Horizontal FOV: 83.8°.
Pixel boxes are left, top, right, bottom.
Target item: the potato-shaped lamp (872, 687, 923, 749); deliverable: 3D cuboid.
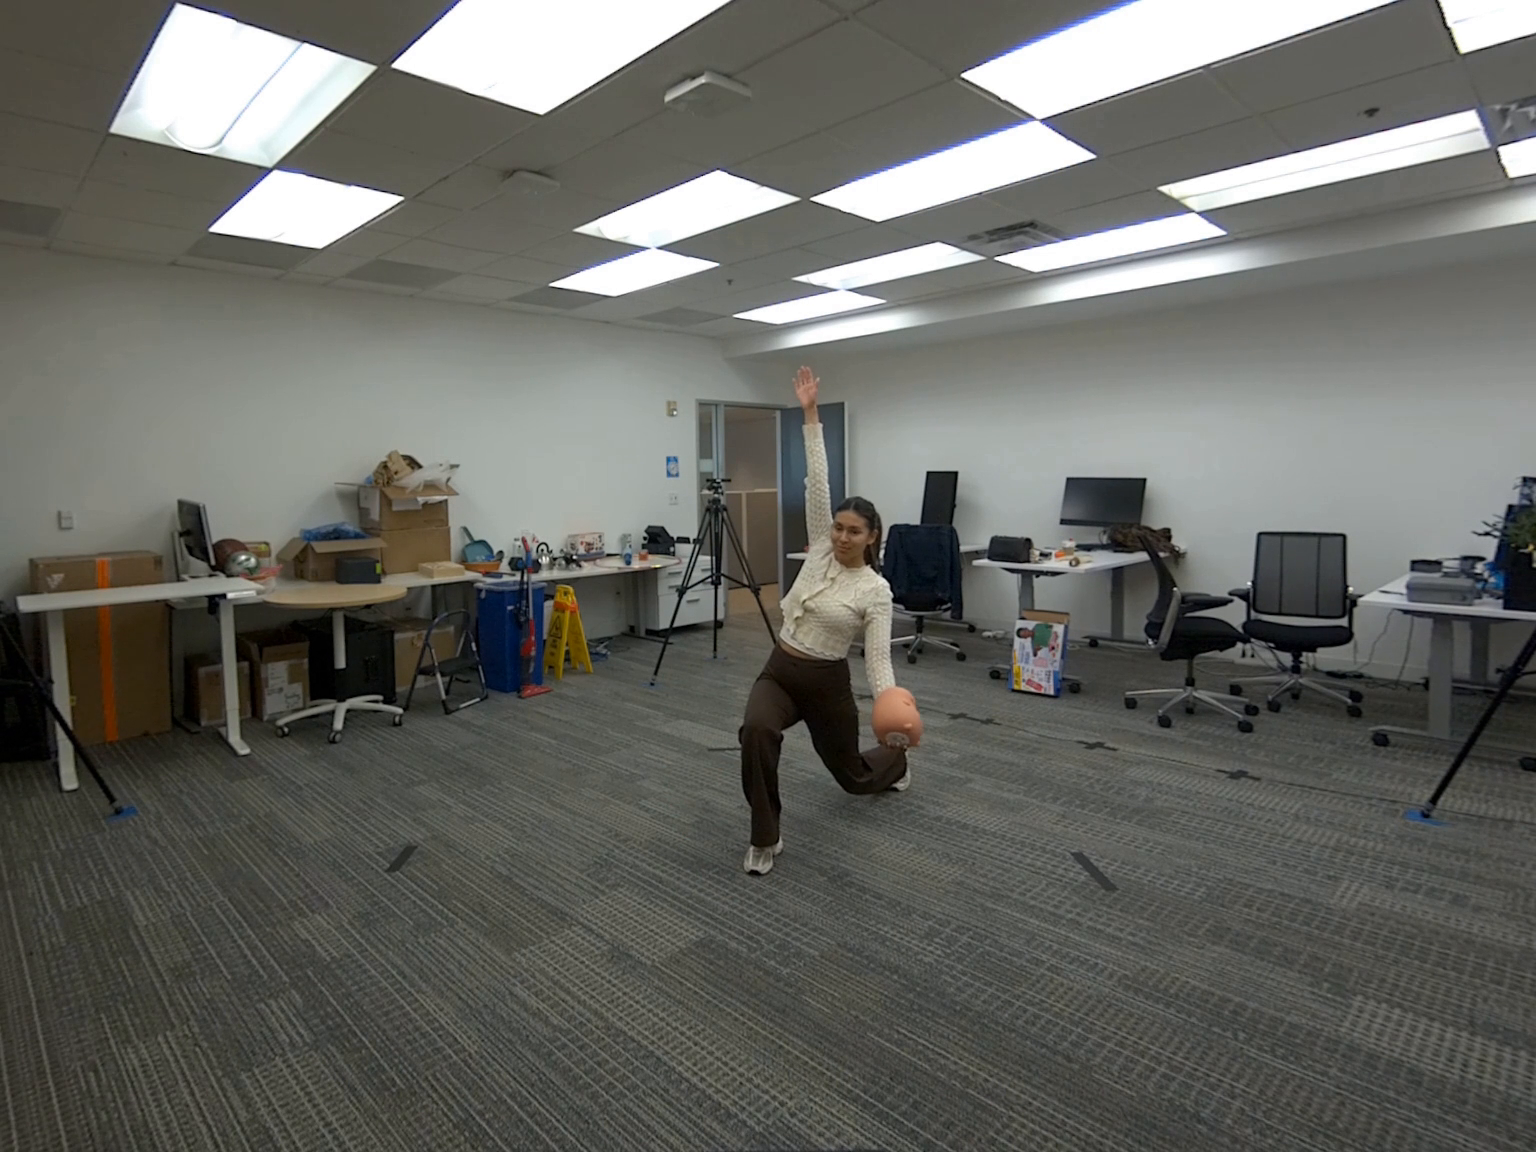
[{"bbox_3d":[0.446,0.472,2.909,0.175,0.159,0.201,-9,42,26],"label":"potato-shaped lamp"}]
